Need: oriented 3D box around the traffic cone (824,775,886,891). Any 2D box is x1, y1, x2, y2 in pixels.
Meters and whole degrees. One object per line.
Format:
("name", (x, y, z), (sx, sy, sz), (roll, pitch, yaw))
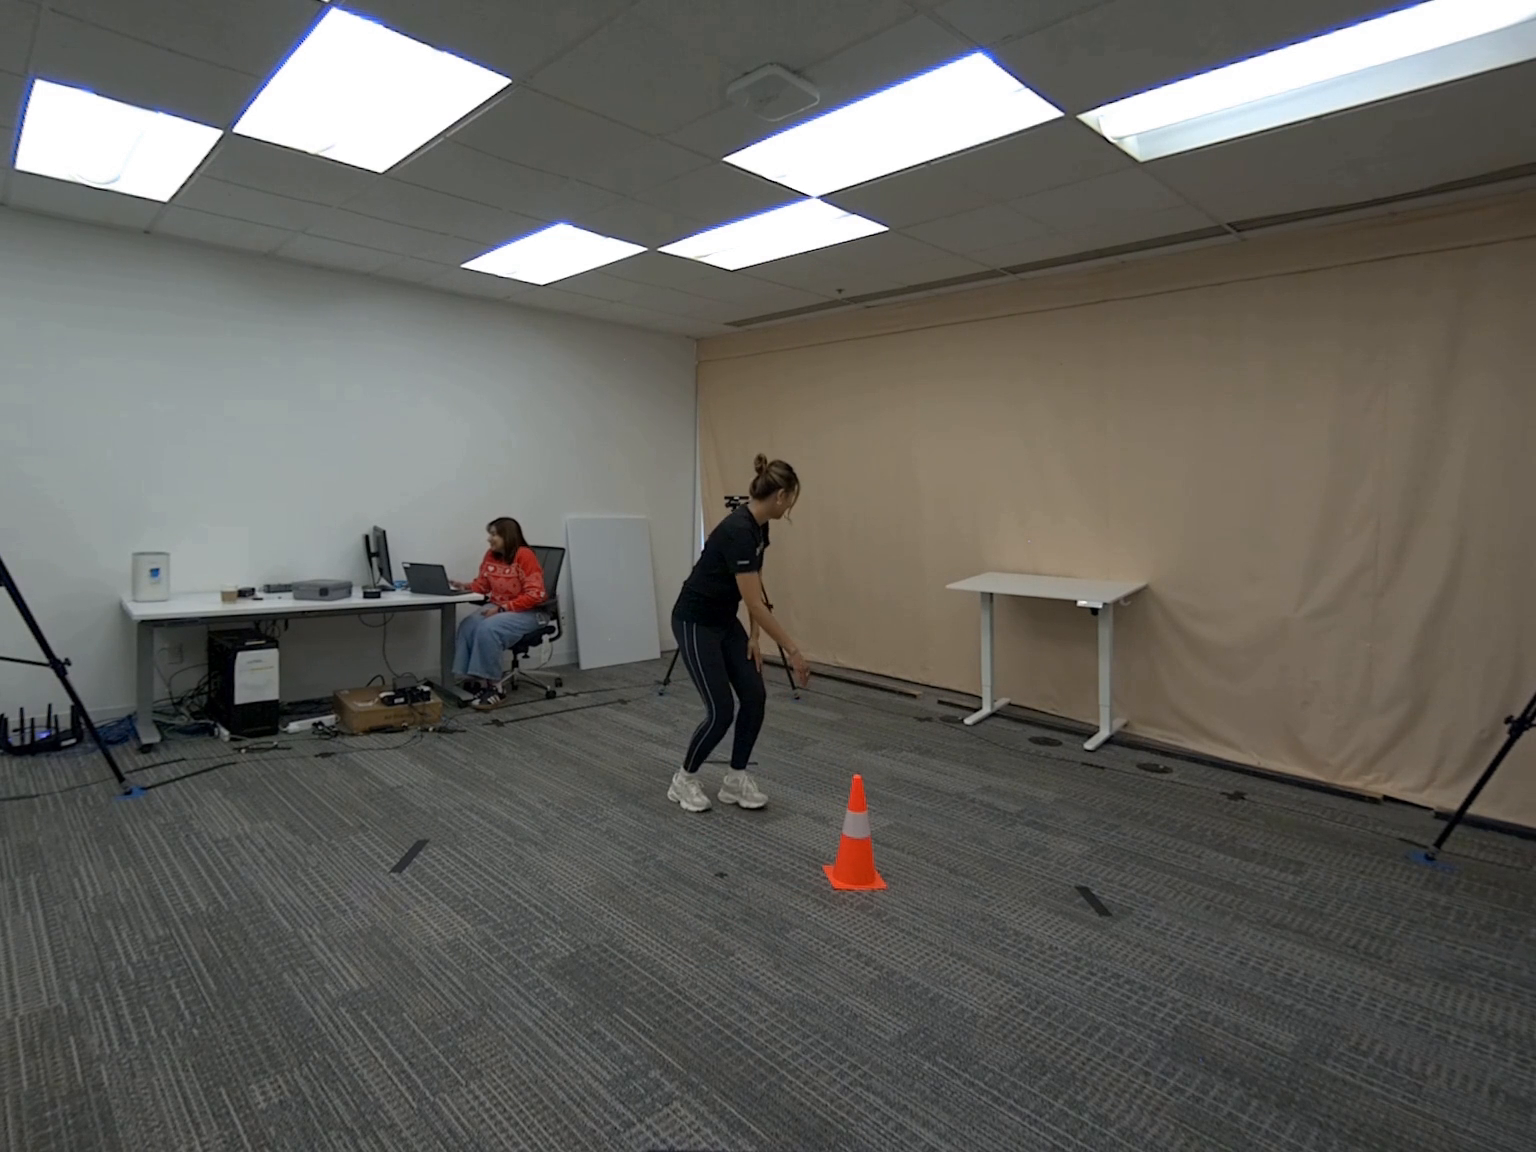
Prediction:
("traffic cone", (0.322, 0.930, 3.104), (0.202, 0.383, 0.206), (3, 2, -6))
